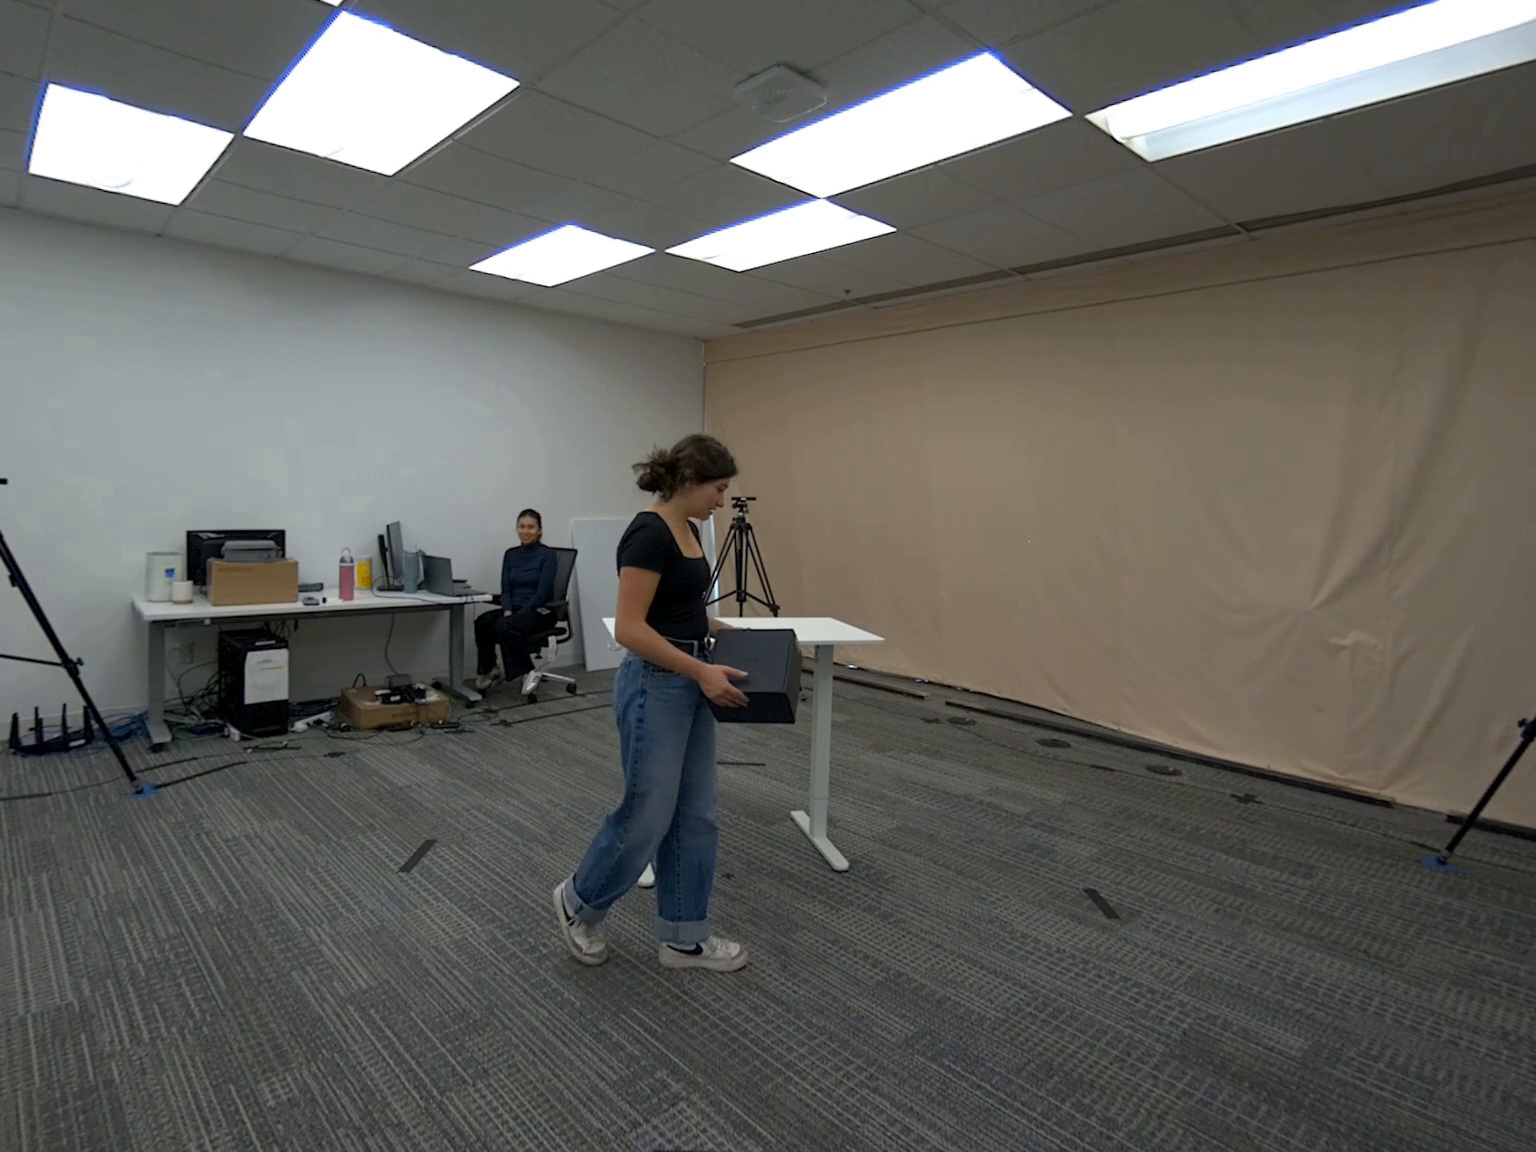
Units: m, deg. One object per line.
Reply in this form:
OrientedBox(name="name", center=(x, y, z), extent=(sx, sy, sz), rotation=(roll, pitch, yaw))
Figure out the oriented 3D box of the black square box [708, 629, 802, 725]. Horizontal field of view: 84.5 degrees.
OrientedBox(name="black square box", center=(-0.042, 0.278, 2.364), extent=(0.230, 0.151, 0.220), rotation=(-2, 47, 15))
